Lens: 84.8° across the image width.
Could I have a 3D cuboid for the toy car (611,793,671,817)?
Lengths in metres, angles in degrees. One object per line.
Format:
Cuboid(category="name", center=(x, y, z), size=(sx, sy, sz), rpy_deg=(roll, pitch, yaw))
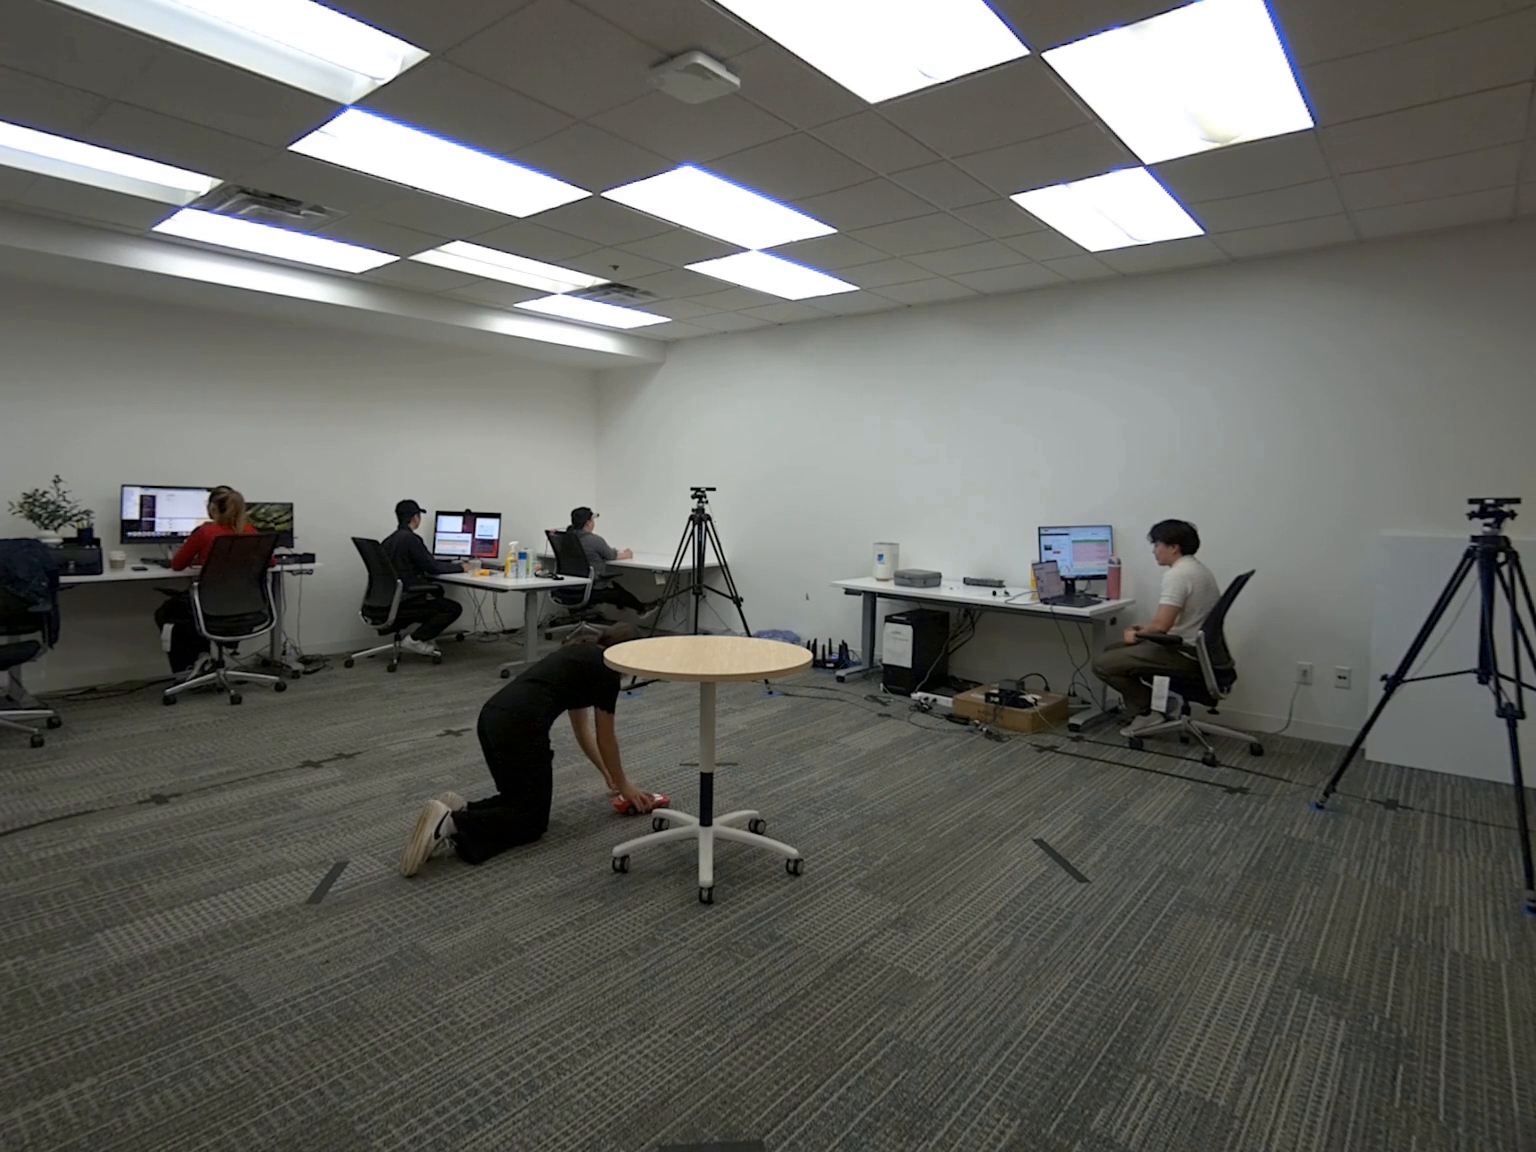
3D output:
Cuboid(category="toy car", center=(-0.569, 0.981, 3.664), size=(0.249, 0.083, 0.133), rpy_deg=(10, 3, -20))
